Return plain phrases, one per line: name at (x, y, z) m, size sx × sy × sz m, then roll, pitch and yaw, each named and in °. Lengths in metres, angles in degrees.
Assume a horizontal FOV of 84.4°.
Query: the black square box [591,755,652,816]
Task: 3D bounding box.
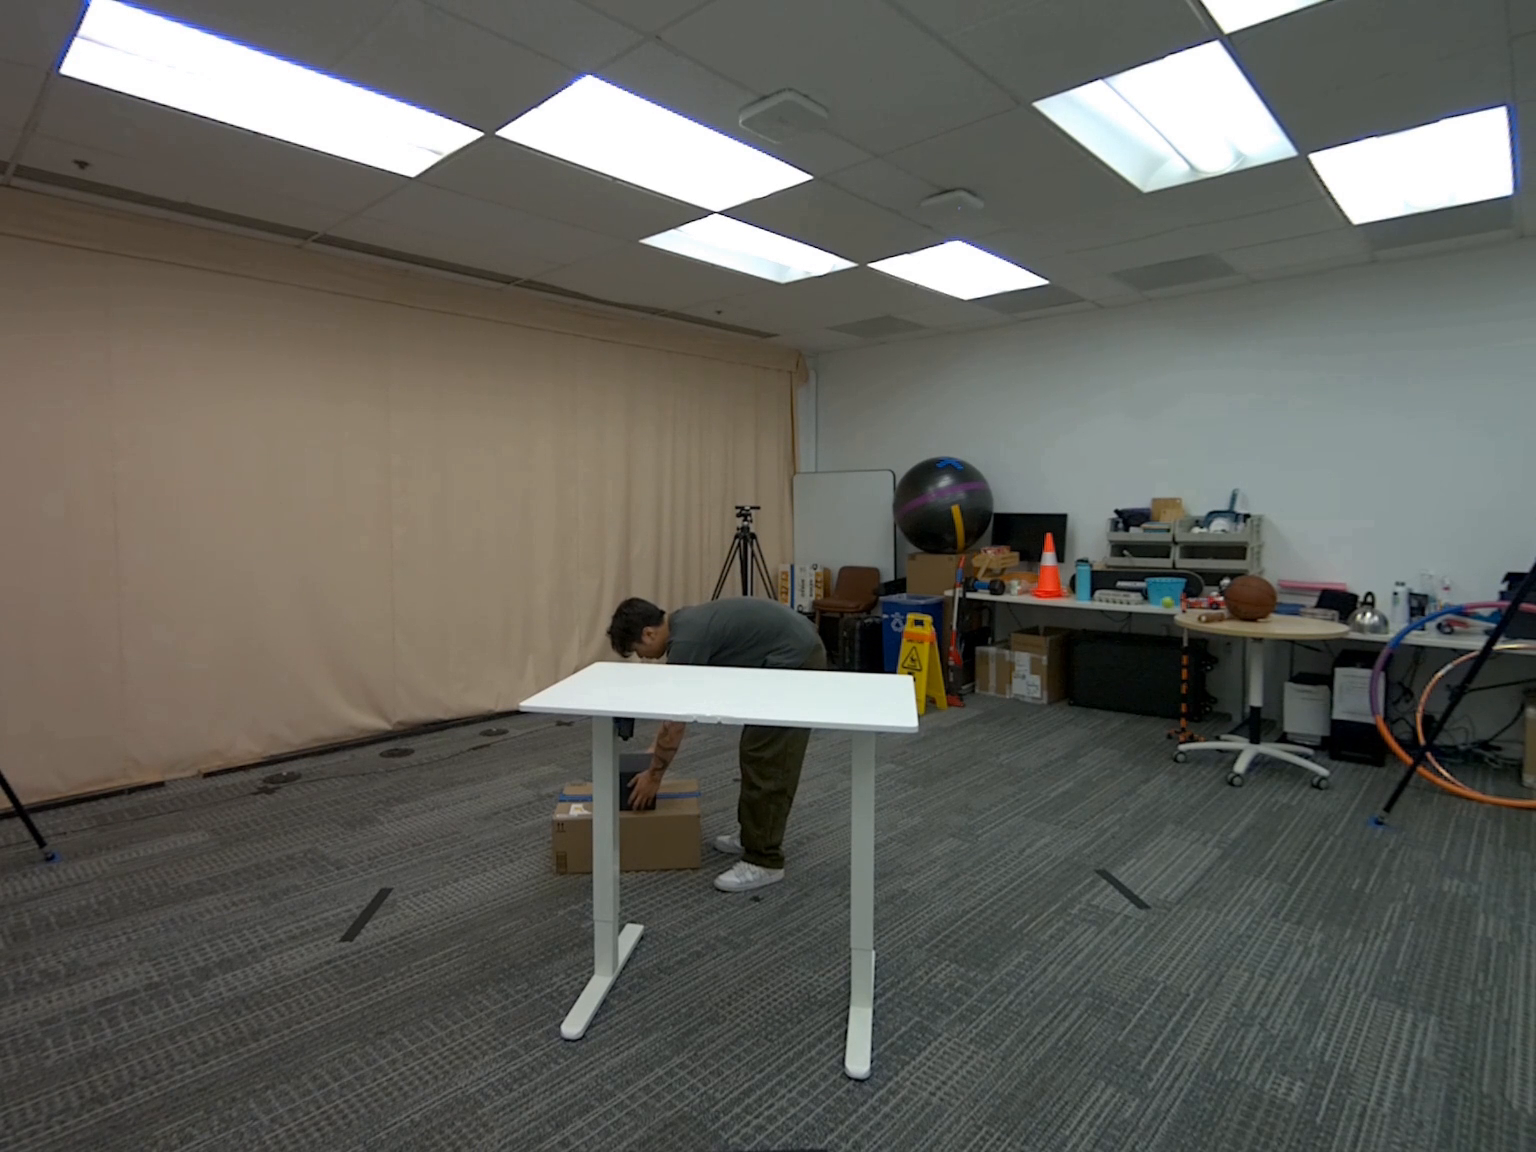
black square box at (-0.578, 0.827, 3.366) m, size 0.227 × 0.155 × 0.219 m, roll -2°, pitch 6°, yaw -5°
